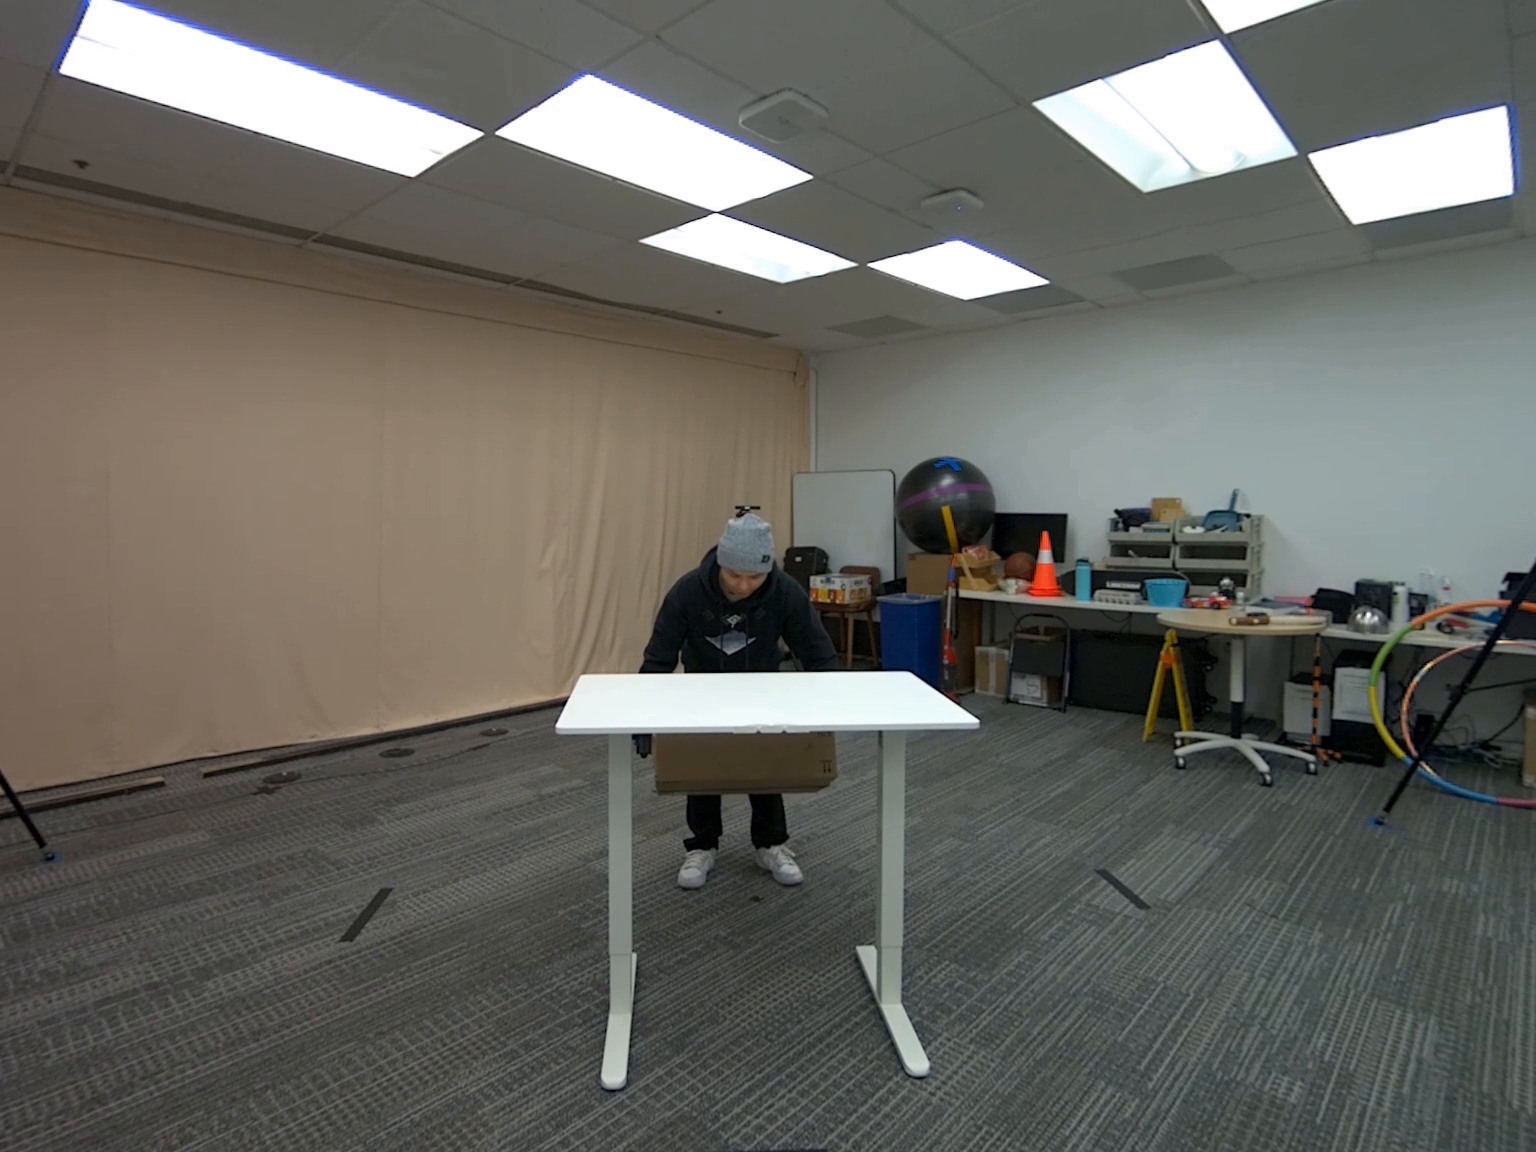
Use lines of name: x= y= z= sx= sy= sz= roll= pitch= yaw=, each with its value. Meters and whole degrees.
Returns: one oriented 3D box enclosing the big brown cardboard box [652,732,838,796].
big brown cardboard box: x=-0.091 y=0.599 z=2.819 sx=0.588 sy=0.236 sz=0.413 roll=-1 pitch=-20 yaw=-2
